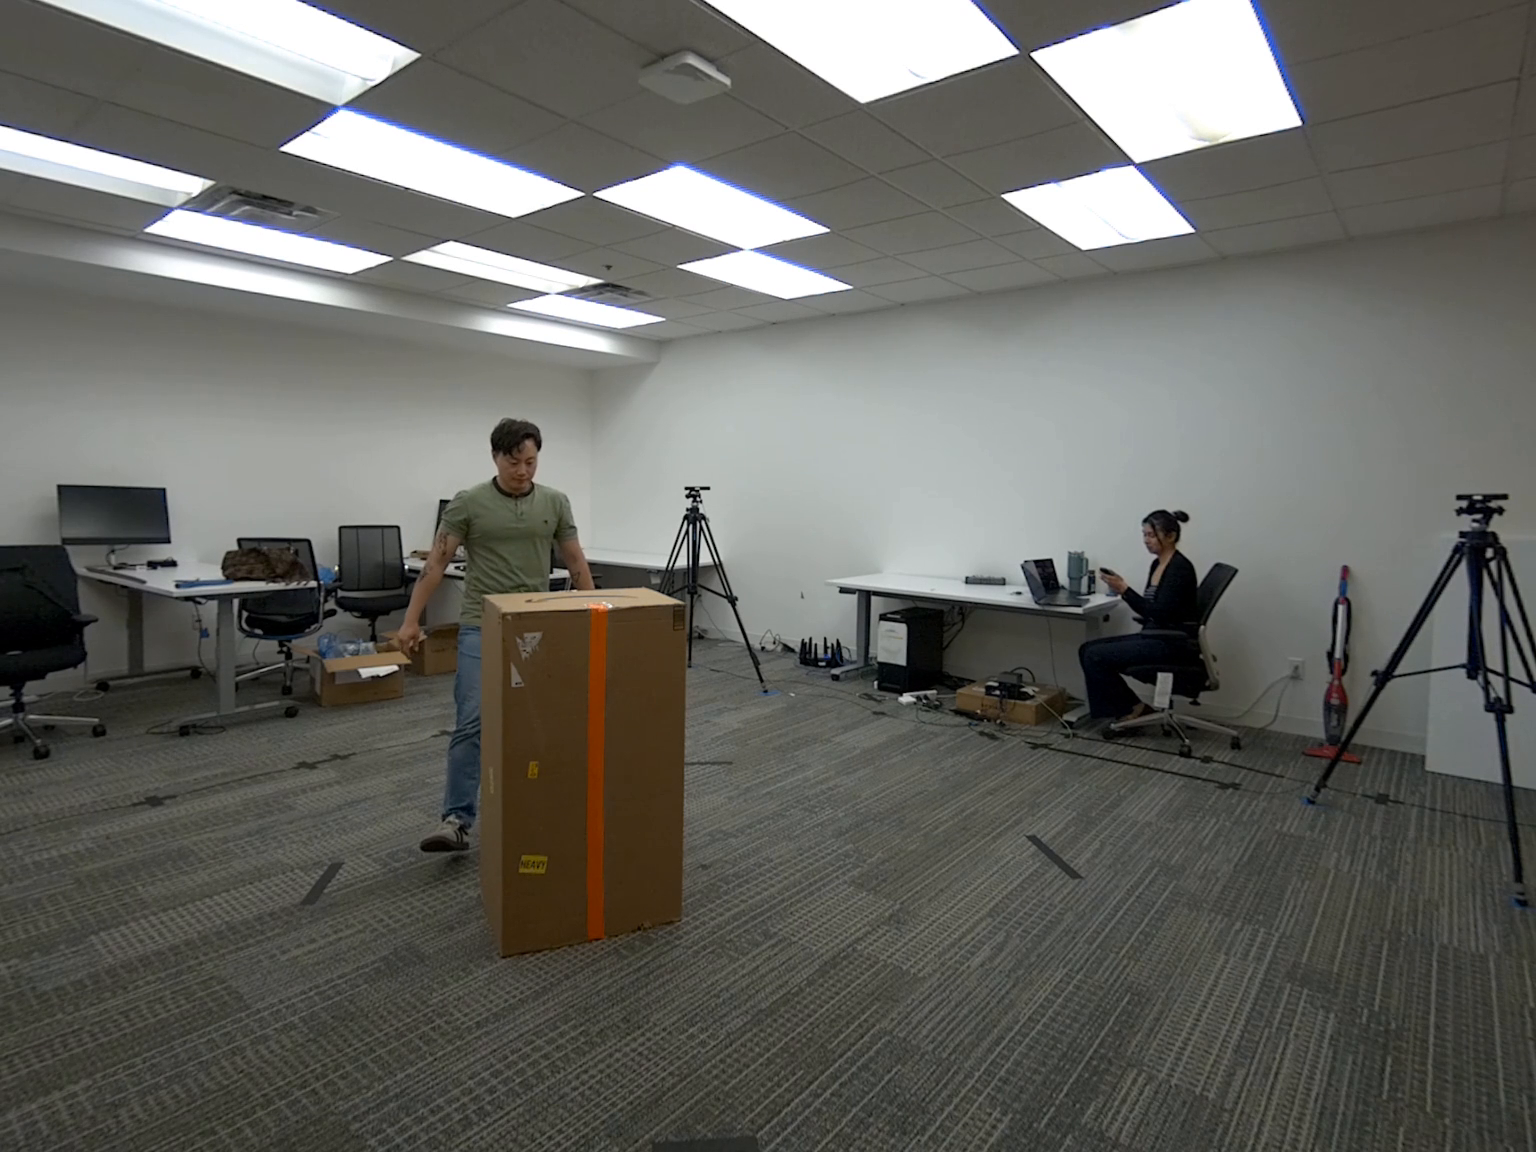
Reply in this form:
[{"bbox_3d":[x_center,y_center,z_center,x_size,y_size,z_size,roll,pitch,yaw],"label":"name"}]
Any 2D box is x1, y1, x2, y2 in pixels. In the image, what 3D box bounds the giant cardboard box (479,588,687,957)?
[{"bbox_3d":[-0.619,0.580,2.771,0.564,1.023,0.438,-1,3,-26],"label":"giant cardboard box"}]
